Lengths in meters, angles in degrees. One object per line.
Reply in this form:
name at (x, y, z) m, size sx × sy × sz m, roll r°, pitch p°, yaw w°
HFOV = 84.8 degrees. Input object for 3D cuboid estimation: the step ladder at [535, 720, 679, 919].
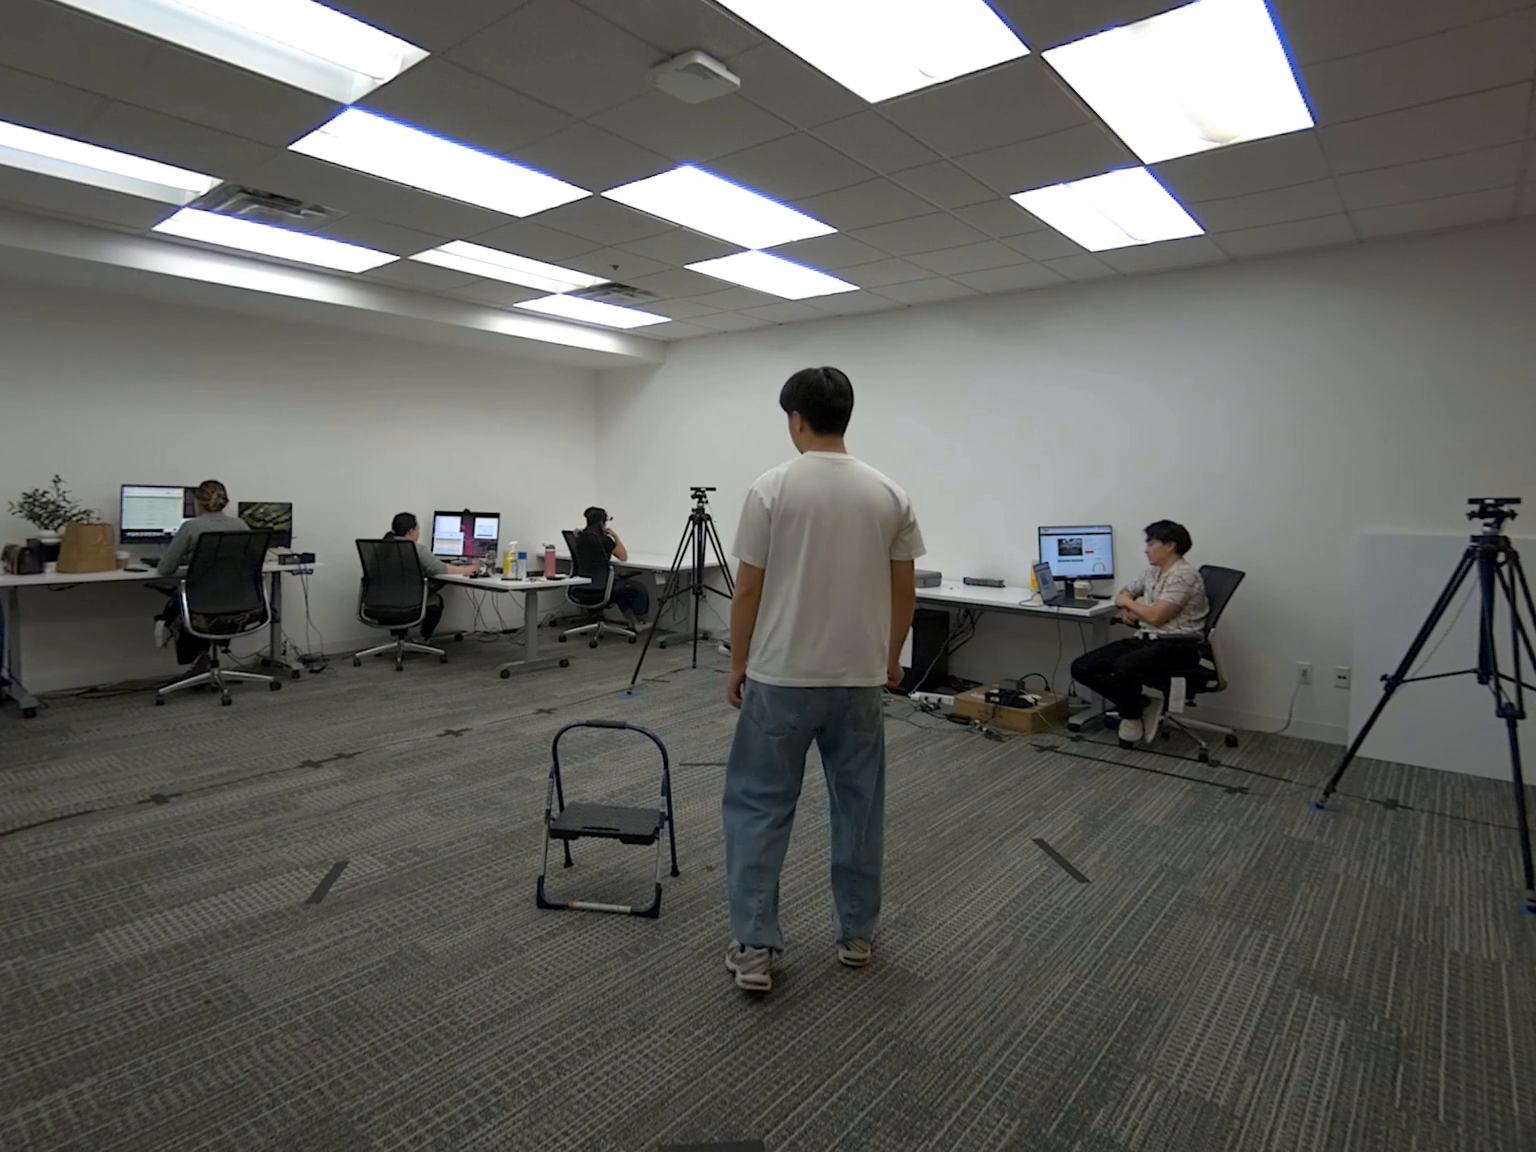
step ladder at (-0.551, 0.776, 2.910) m, size 0.434 × 0.604 × 0.348 m, roll 1°, pitch 3°, yaw 6°
